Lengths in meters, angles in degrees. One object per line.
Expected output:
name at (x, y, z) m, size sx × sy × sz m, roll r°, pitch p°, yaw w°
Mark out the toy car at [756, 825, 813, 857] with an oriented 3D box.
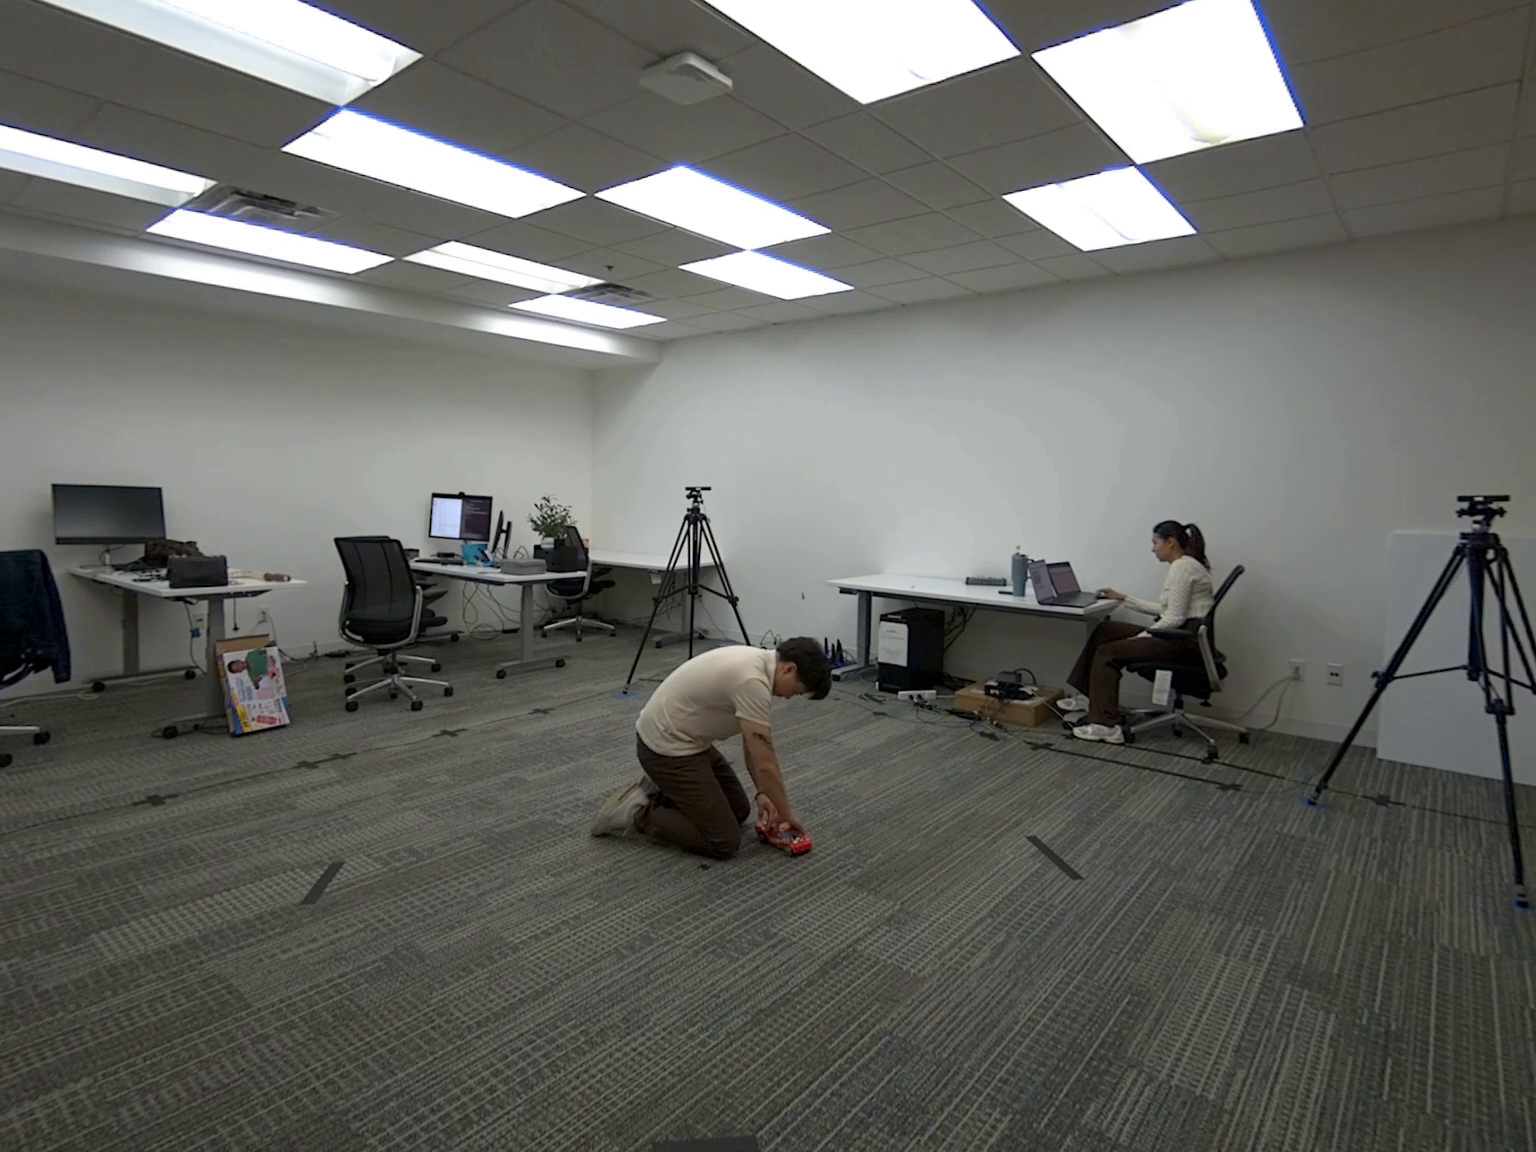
toy car at (0.042, 1.023, 3.325) m, size 0.126 × 0.082 × 0.265 m, roll -2°, pitch 17°, yaw -39°
